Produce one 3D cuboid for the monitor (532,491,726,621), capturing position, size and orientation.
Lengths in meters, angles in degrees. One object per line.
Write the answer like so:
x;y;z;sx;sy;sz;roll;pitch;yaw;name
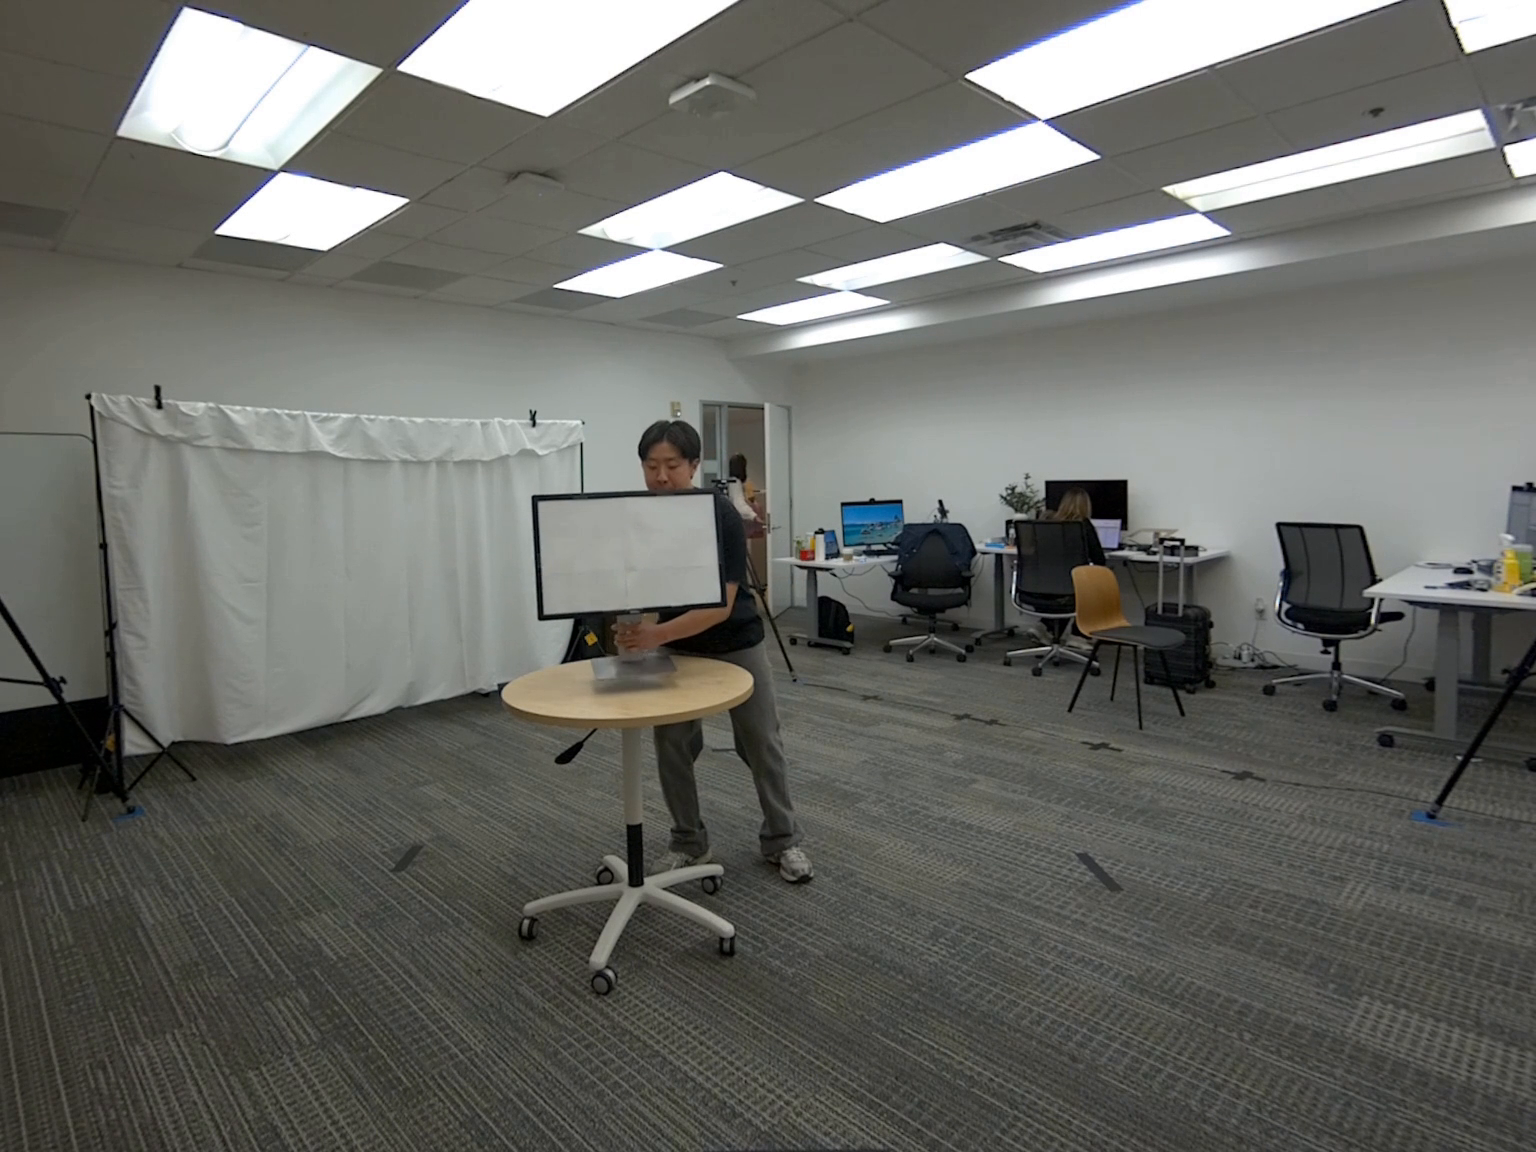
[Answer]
-0.414;0.031;2.566;0.556;0.560;0.226;-3;11;-11;monitor
